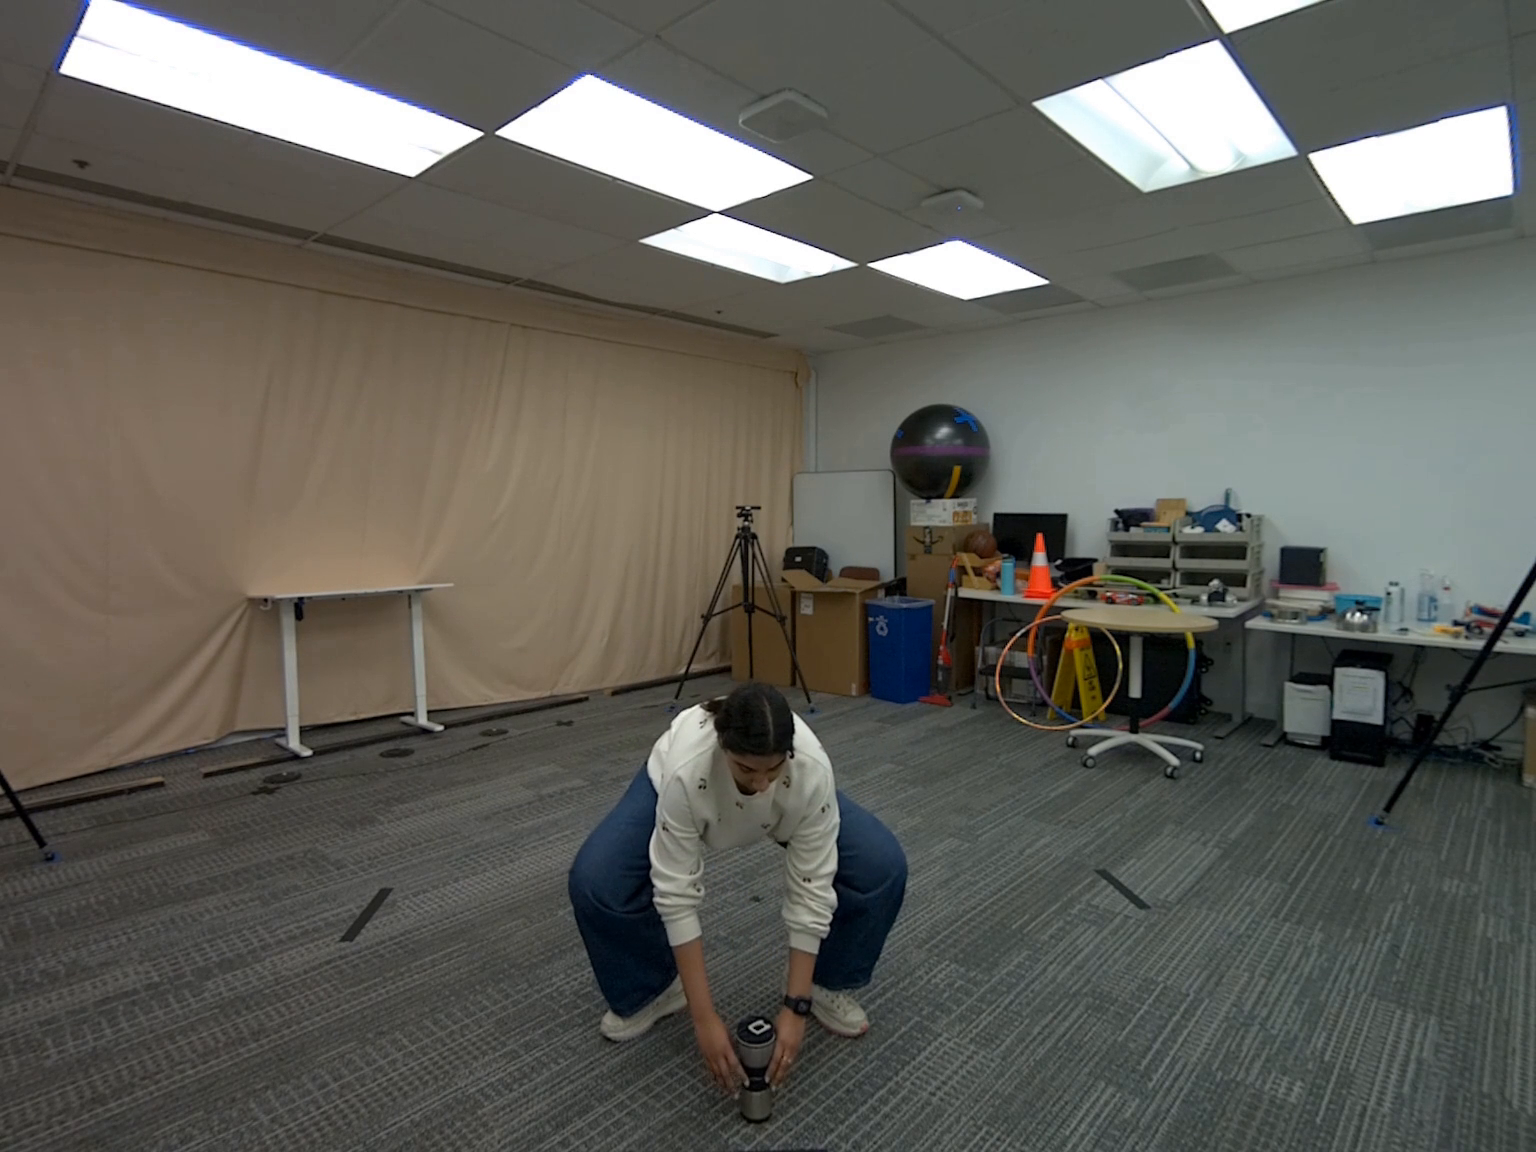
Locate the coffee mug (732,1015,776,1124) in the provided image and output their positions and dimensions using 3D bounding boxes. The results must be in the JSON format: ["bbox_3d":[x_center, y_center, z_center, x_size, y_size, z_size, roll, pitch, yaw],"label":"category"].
[{"bbox_3d":[-0.003,1.134,1.915,0.122,0.203,0.088,-3,0,0],"label":"coffee mug"}]
